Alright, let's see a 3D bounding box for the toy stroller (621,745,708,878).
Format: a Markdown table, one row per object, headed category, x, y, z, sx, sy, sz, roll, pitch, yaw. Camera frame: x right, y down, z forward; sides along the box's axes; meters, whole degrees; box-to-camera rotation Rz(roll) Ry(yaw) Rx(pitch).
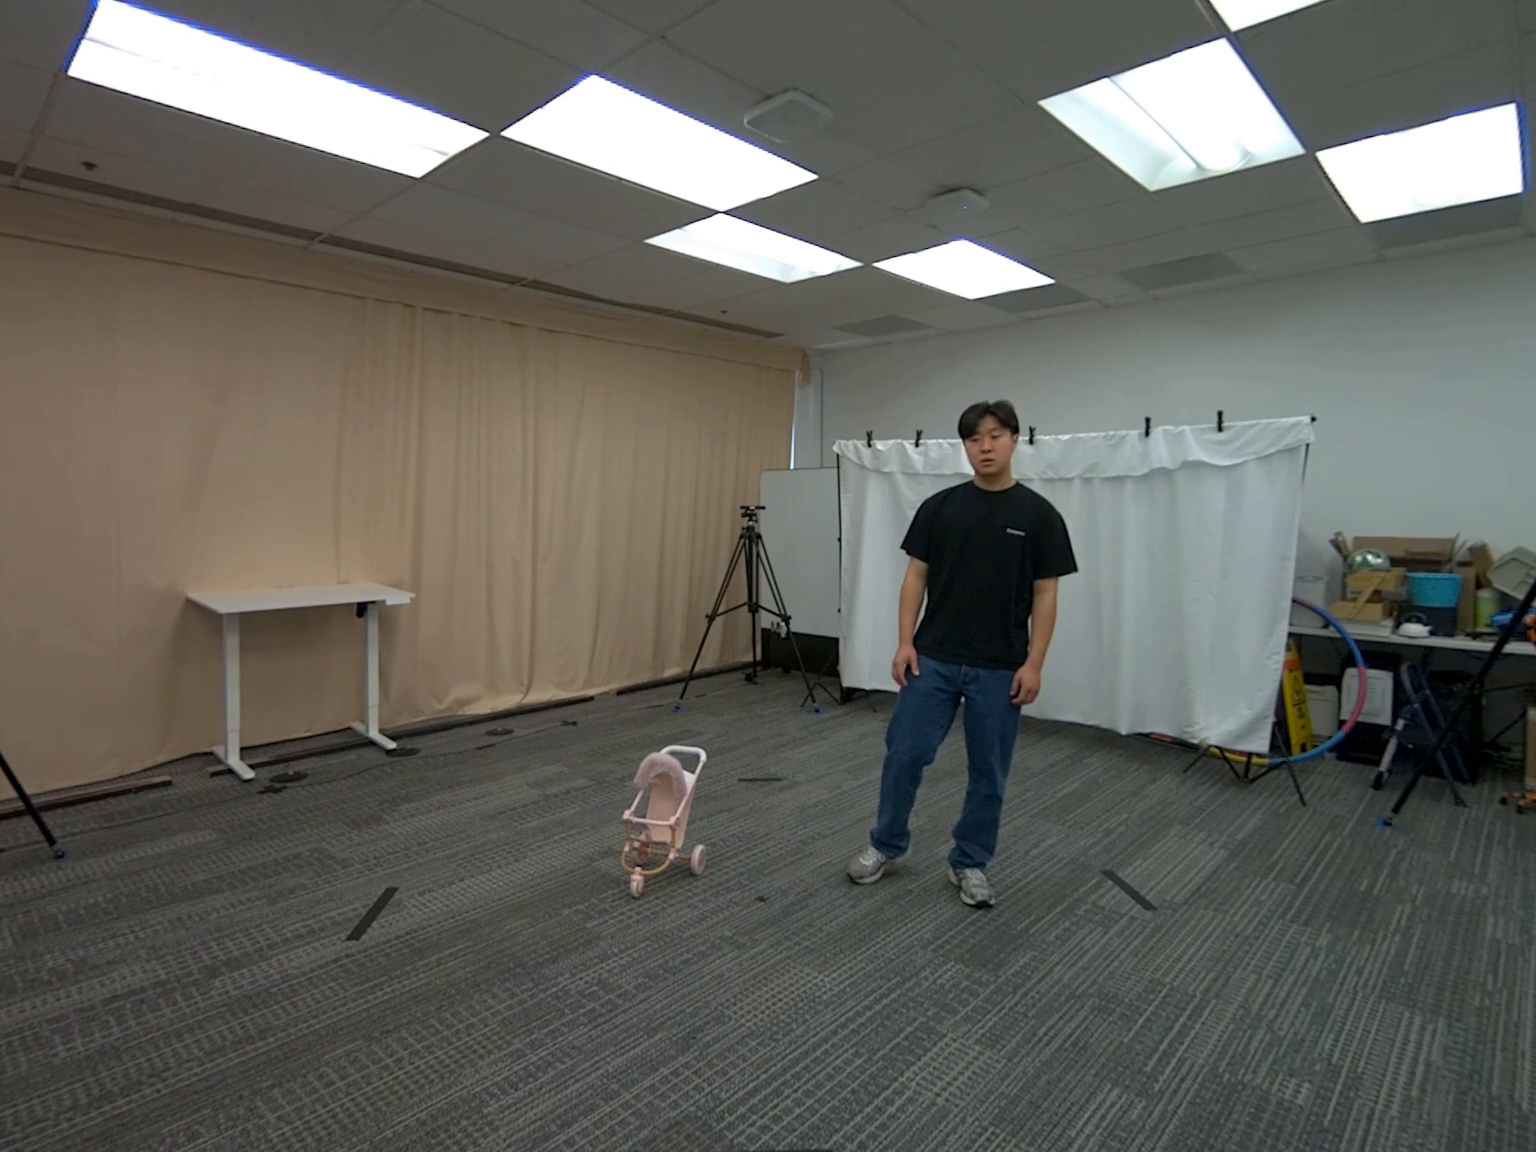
| category | x | y | z | sx | sy | sz | roll | pitch | yaw |
| --- | --- | --- | --- | --- | --- | --- | --- | --- | --- |
| toy stroller | -0.406 | 0.908 | 3.169 | 0.289 | 0.538 | 0.330 | 0 | -13 | 26 |
